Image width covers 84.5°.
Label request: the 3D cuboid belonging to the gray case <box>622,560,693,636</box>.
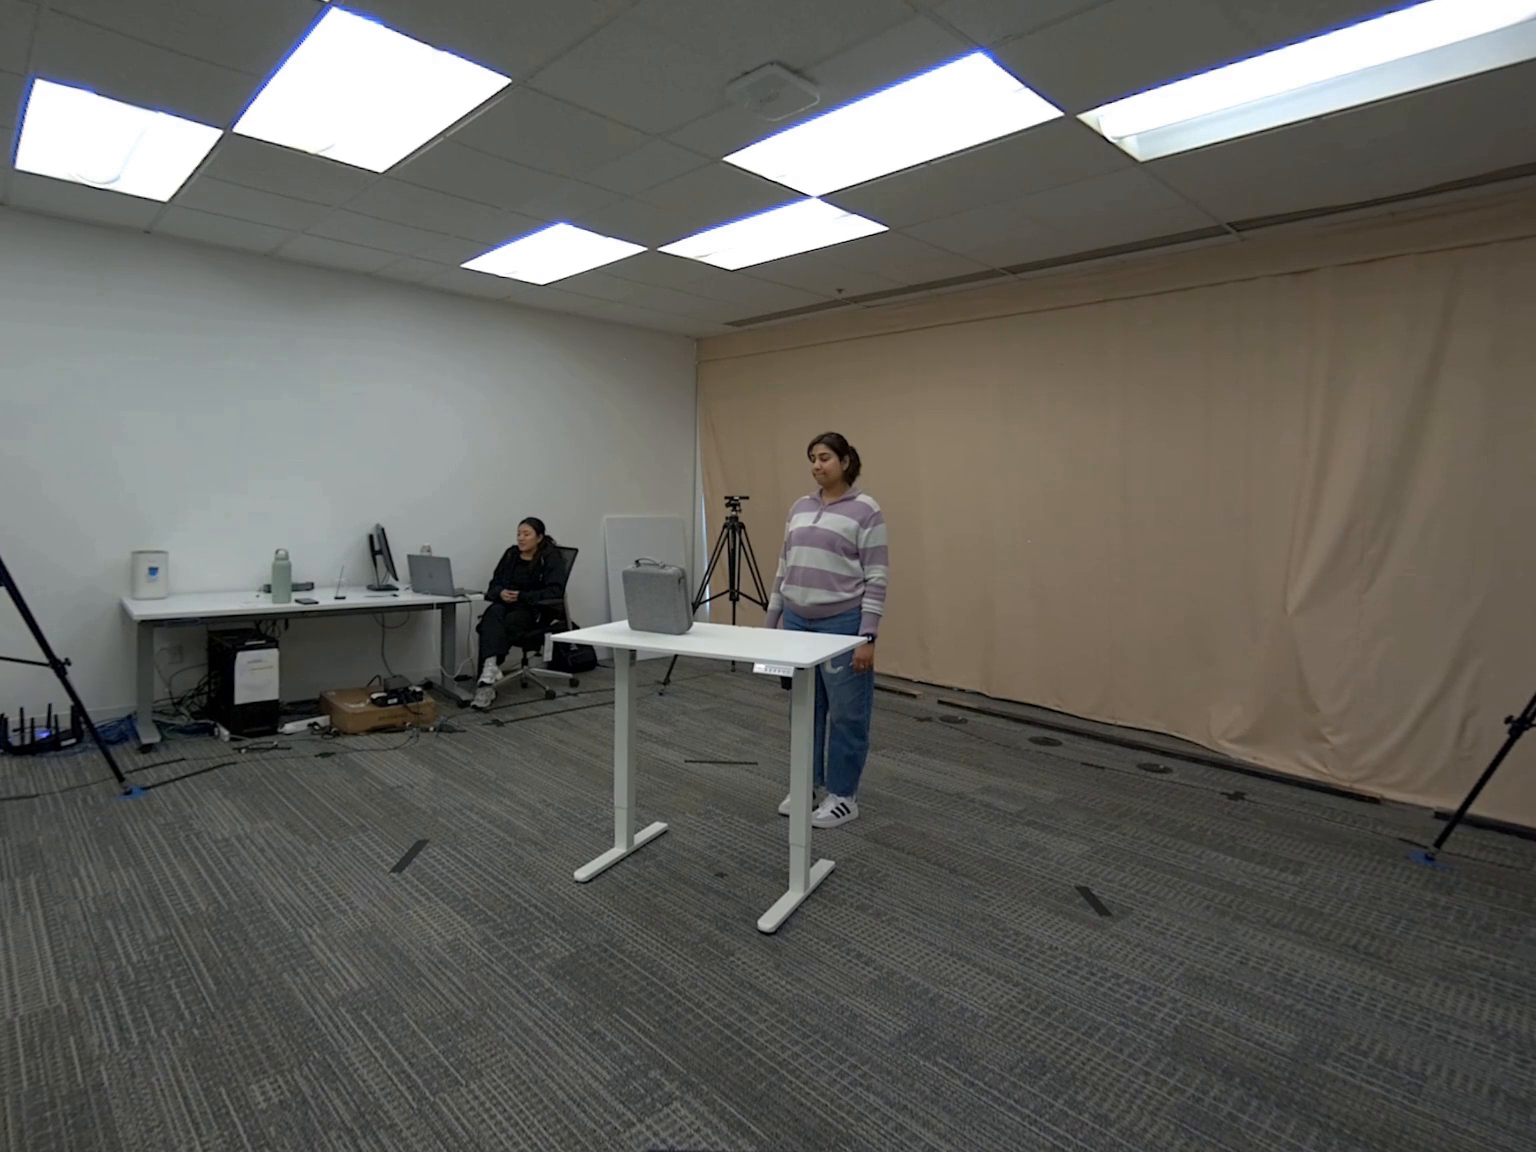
[{"bbox_3d":[-0.417,0.082,3.151,0.262,0.258,0.103,2,15,32],"label":"gray case"}]
